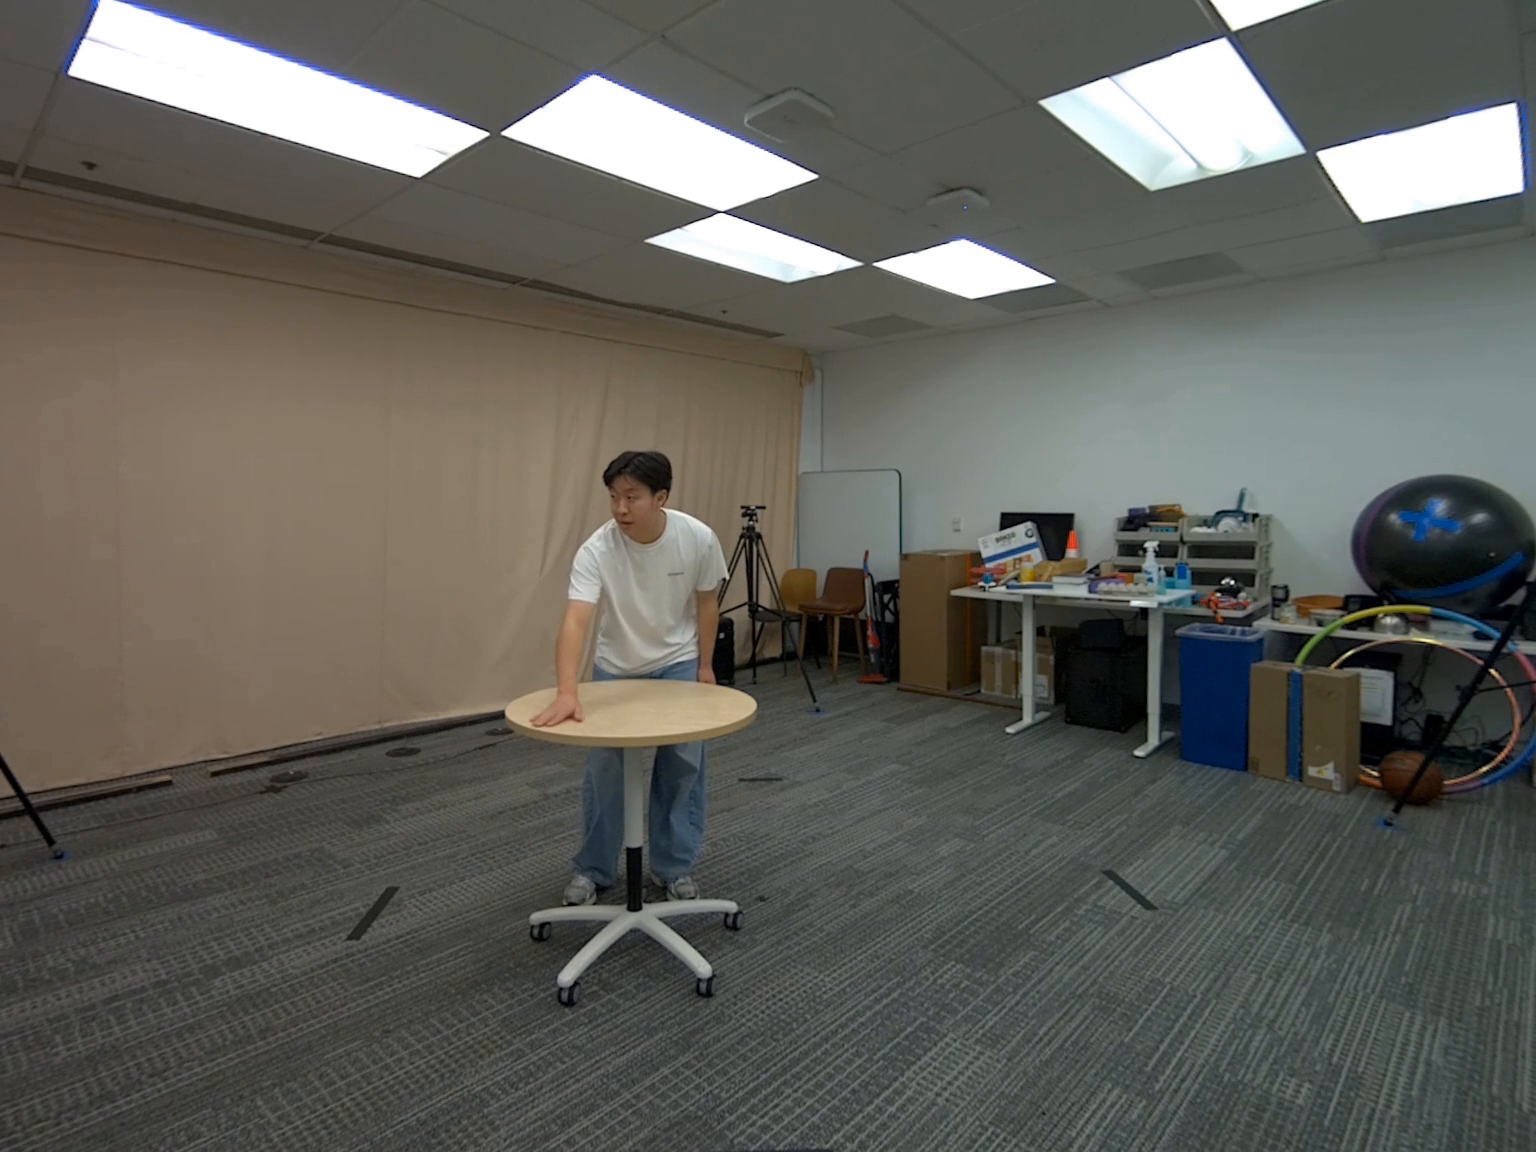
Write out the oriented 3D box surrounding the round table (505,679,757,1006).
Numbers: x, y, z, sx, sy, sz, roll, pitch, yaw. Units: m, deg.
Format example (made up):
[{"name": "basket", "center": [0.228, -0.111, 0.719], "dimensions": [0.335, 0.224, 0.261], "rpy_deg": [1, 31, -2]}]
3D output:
[{"name": "round table", "center": [-0.404, 0.786, 2.610], "dimensions": [0.763, 0.792, 0.766], "rpy_deg": [0, 4, -2]}]
